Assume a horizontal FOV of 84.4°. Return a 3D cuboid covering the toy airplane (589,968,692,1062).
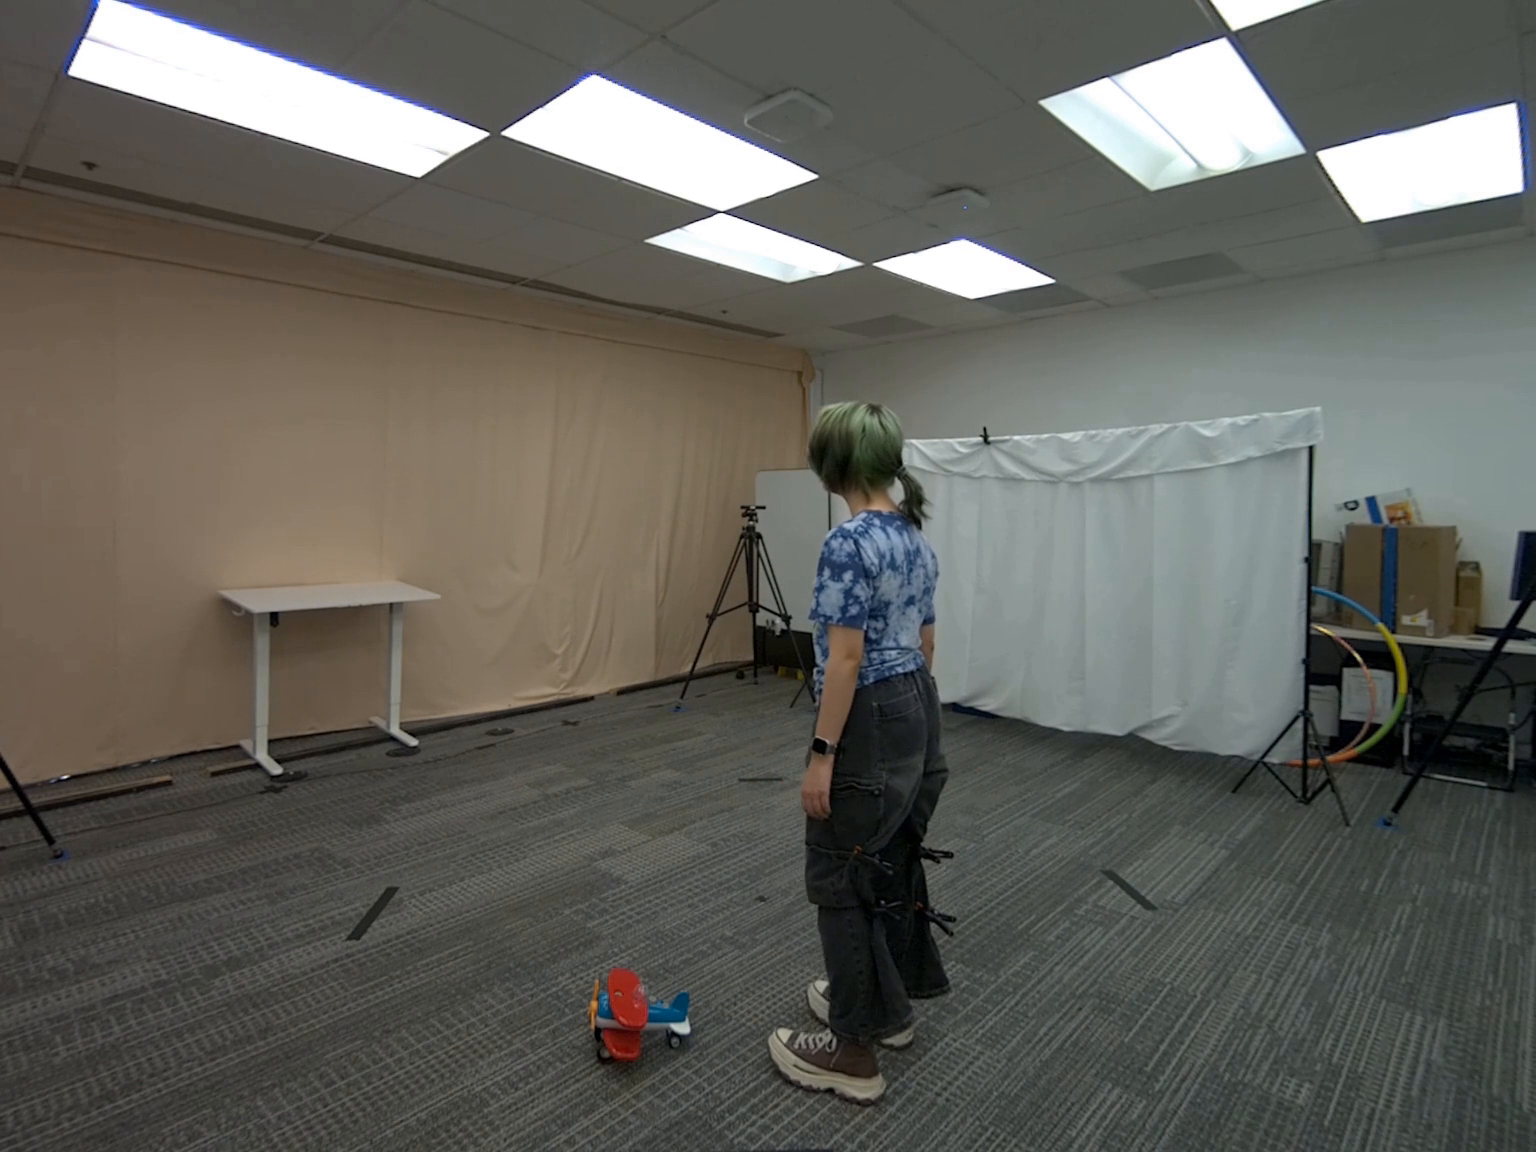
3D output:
[{"bbox_3d":[-0.335,1.145,2.183,0.251,0.156,0.259,-6,7,-40],"label":"toy airplane"}]
